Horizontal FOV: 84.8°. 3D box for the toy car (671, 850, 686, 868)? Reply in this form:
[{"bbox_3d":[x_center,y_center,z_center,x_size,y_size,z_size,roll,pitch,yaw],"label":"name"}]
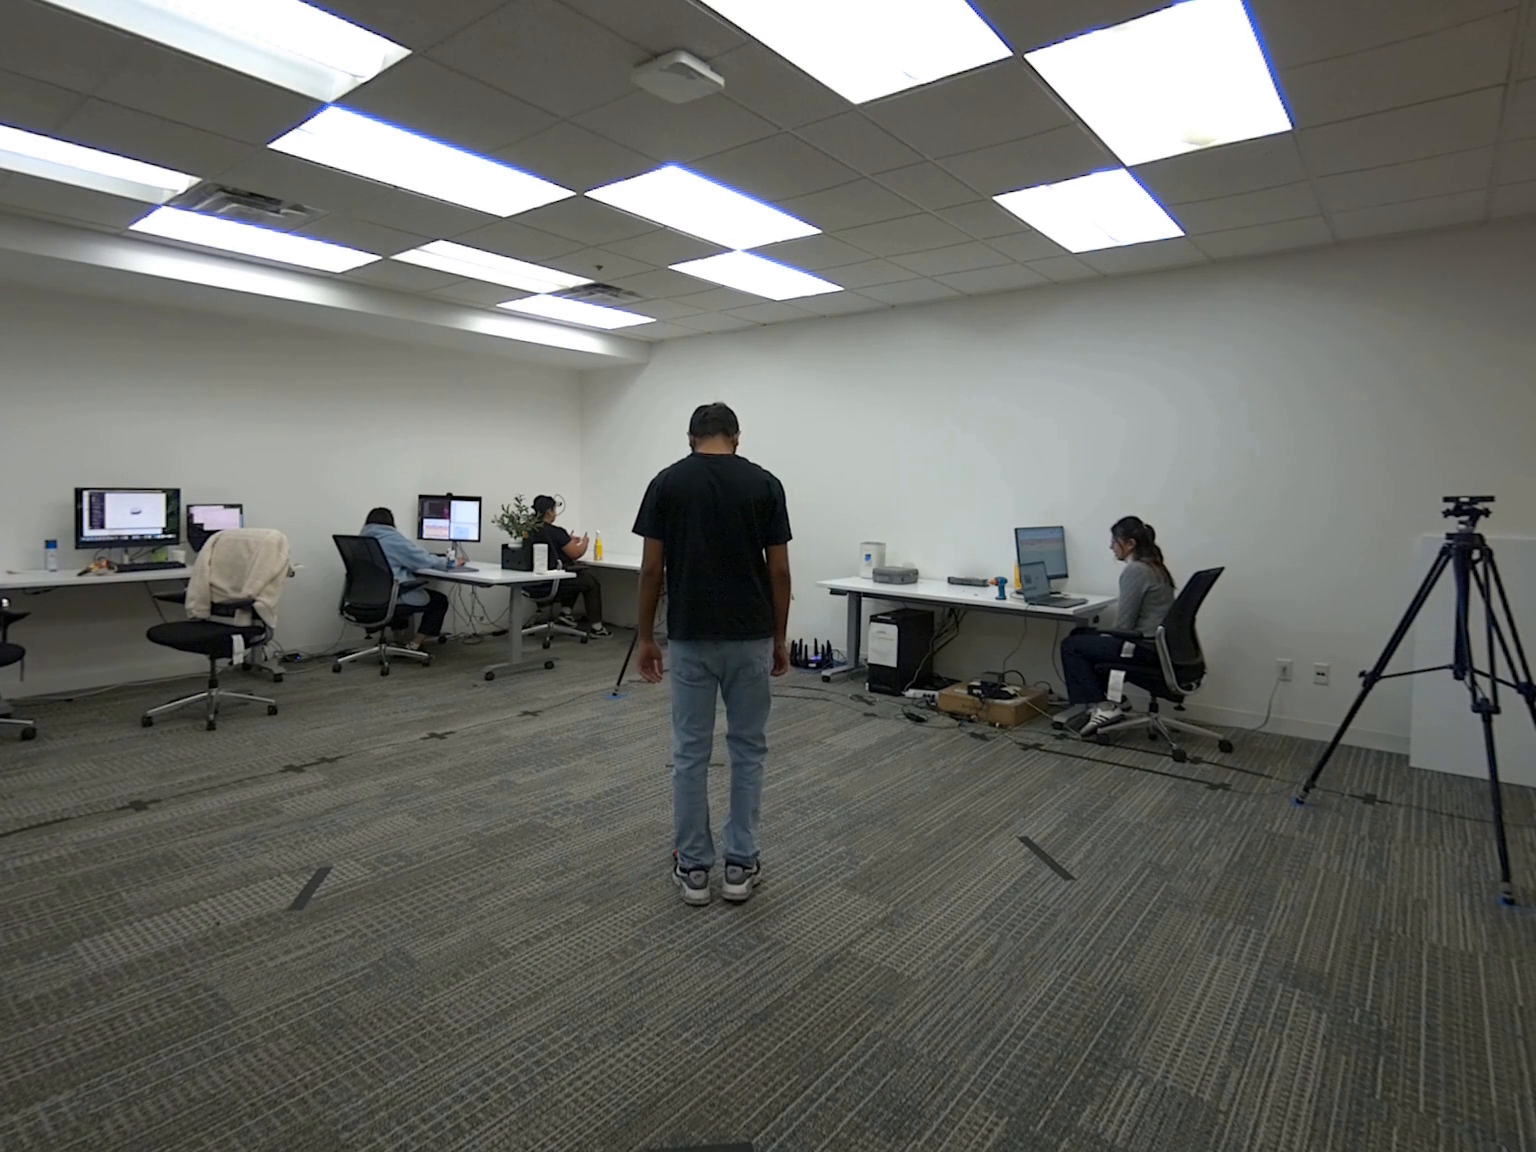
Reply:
[{"bbox_3d":[-0.303,1.017,3.229,0.130,0.084,0.253,1,-7,-4],"label":"toy car"}]
